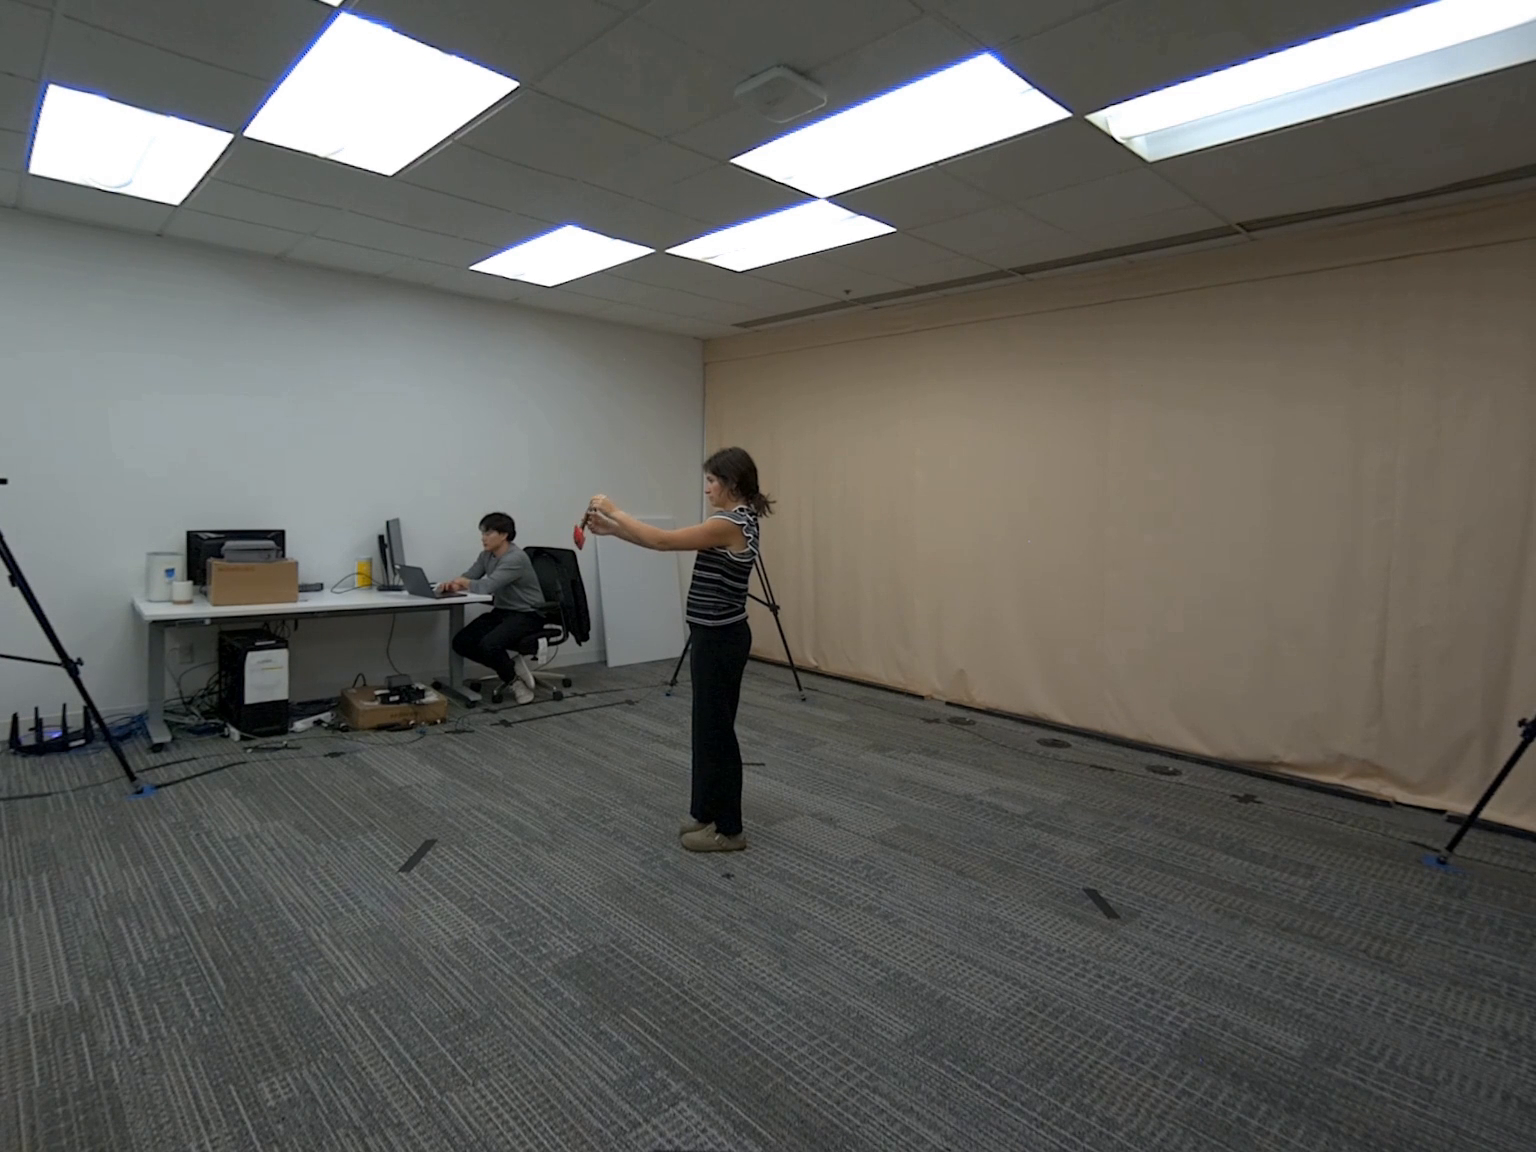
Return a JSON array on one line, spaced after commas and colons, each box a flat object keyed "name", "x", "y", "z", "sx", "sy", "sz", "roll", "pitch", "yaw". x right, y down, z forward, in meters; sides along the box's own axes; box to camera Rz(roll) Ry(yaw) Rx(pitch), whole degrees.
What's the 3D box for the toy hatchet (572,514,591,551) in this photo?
[{"name": "toy hatchet", "x": -0.737, "y": -0.198, "z": 3.376, "sx": 0.030, "sy": 0.129, "sz": 0.273, "roll": 5, "pitch": 29, "yaw": 6}]
